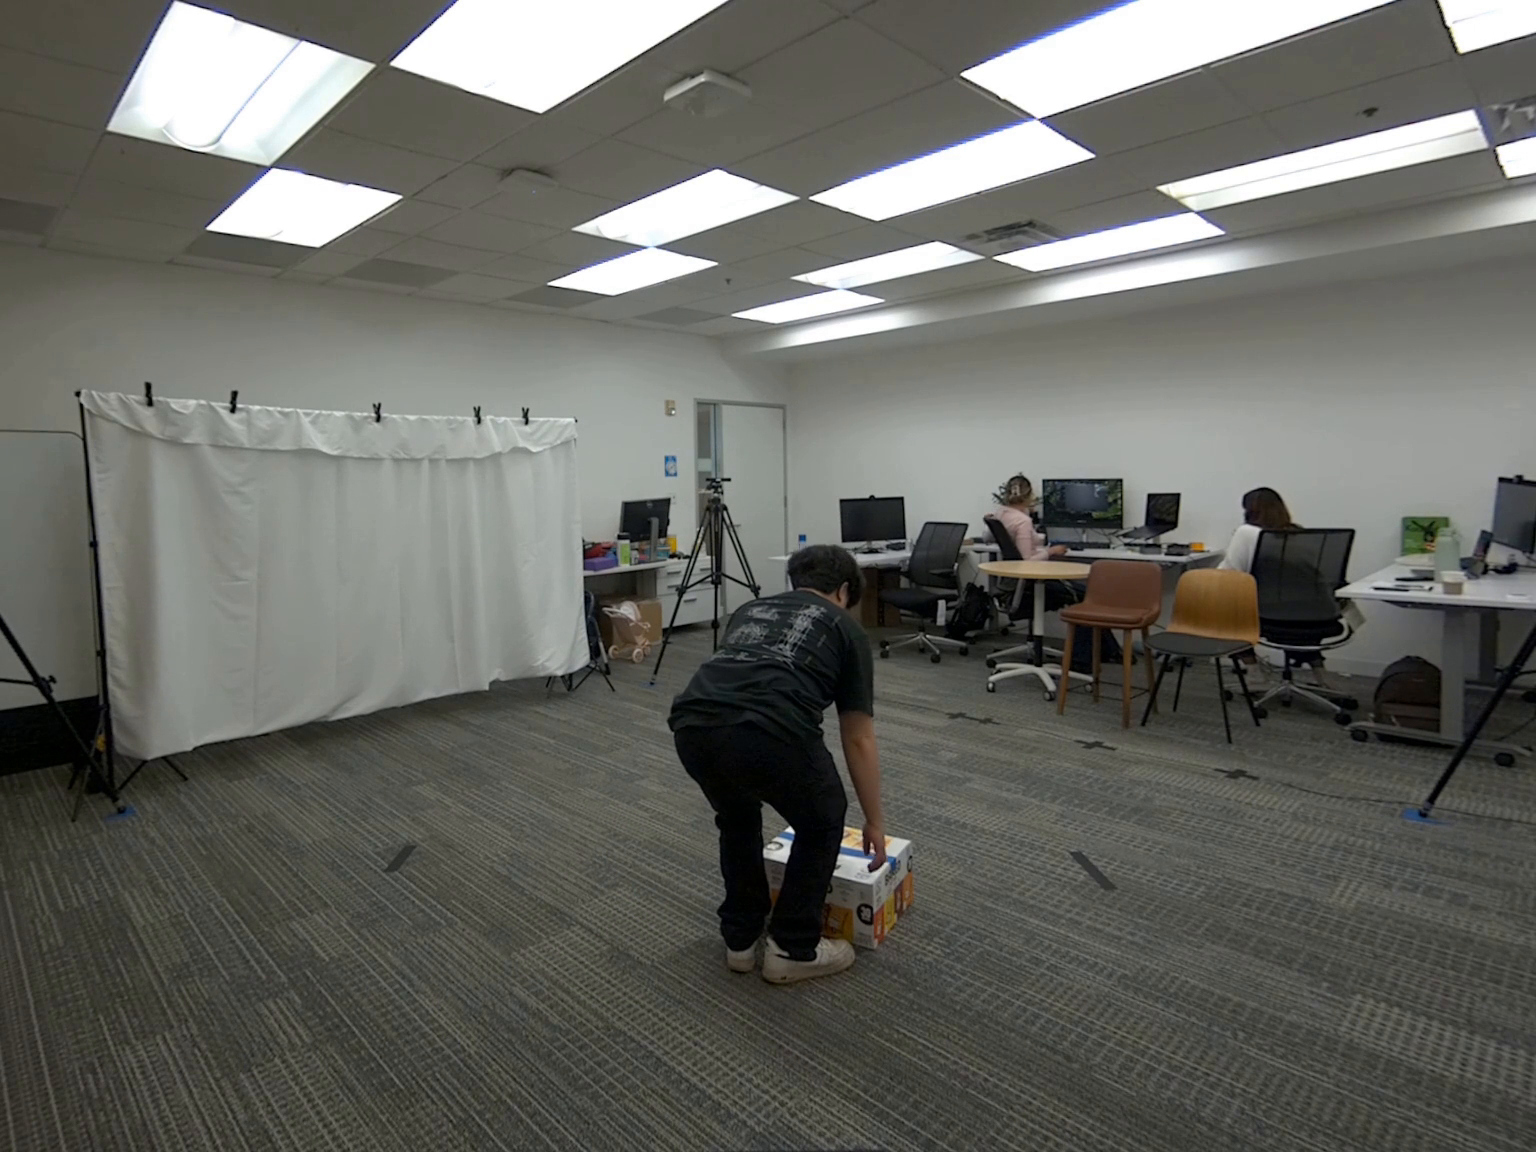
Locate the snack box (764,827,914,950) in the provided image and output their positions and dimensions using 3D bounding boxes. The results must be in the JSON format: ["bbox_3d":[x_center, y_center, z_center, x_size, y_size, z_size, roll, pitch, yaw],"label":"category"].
[{"bbox_3d":[0.217,0.974,2.756,0.416,0.205,0.333,2,7,30],"label":"snack box"}]
